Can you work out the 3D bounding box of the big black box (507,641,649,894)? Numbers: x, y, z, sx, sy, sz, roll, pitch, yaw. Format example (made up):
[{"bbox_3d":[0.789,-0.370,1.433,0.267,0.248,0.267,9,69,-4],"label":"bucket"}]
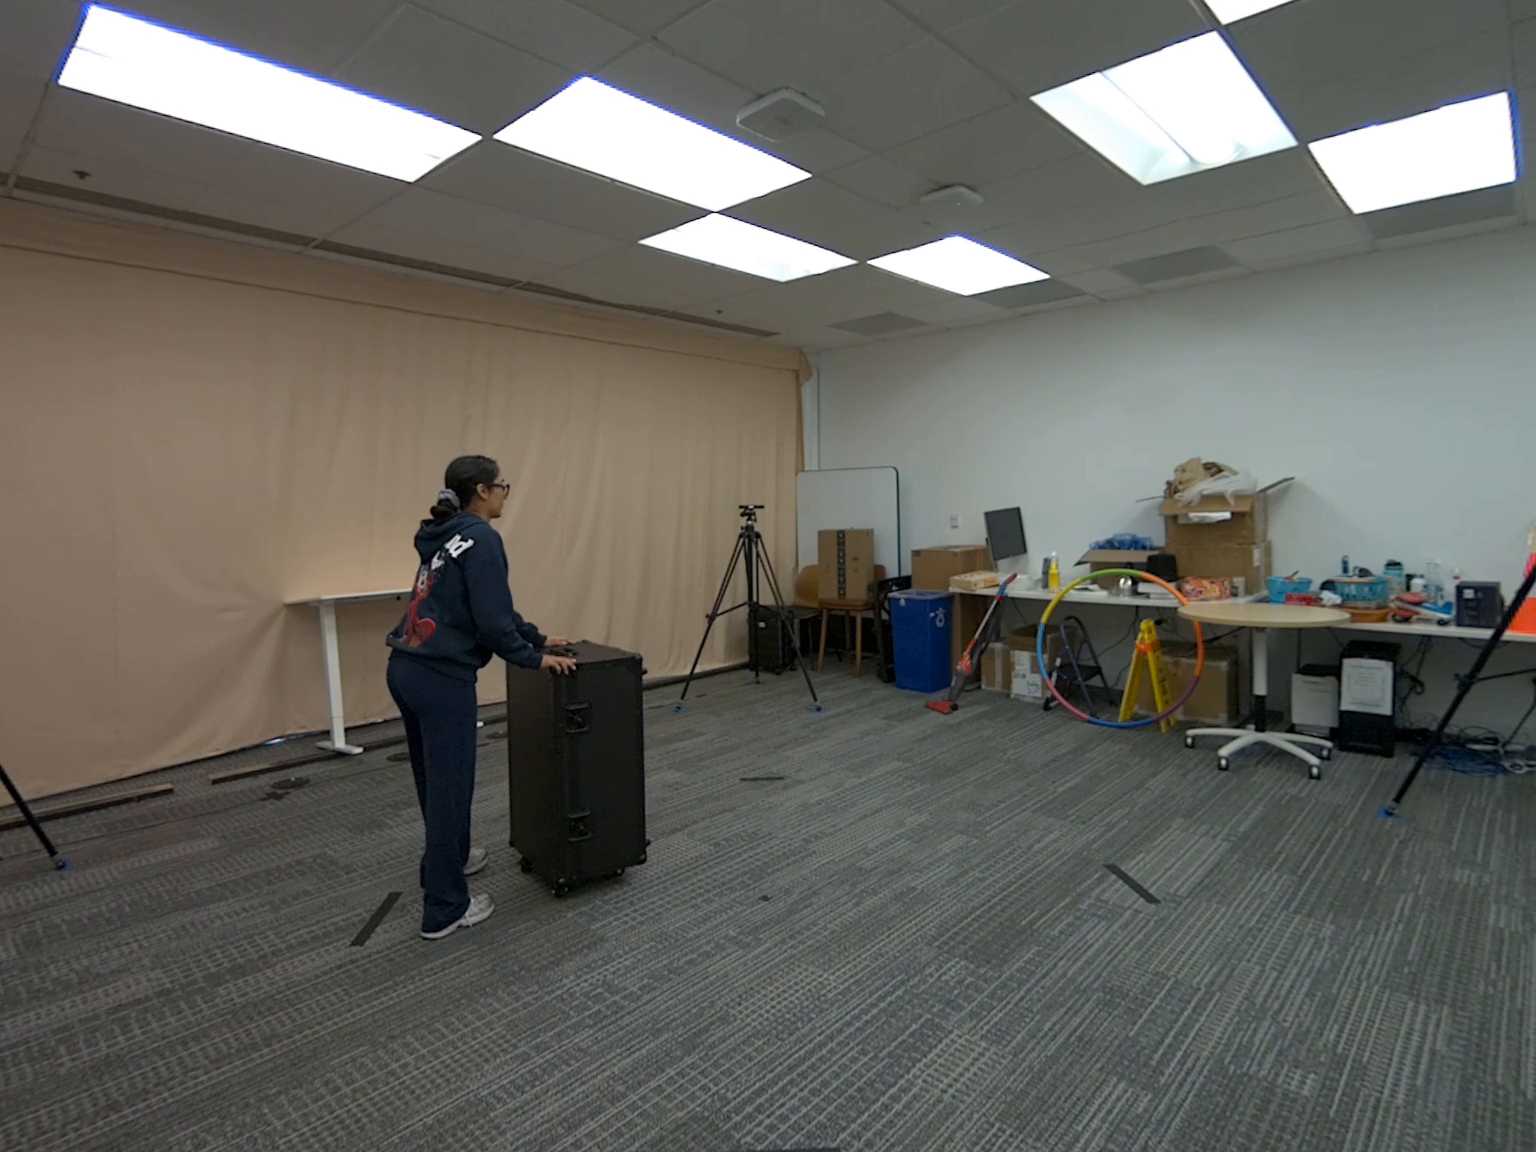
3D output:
[{"bbox_3d":[-0.738,0.714,3.236,0.385,0.860,0.537,-1,3,-35],"label":"big black box"}]
